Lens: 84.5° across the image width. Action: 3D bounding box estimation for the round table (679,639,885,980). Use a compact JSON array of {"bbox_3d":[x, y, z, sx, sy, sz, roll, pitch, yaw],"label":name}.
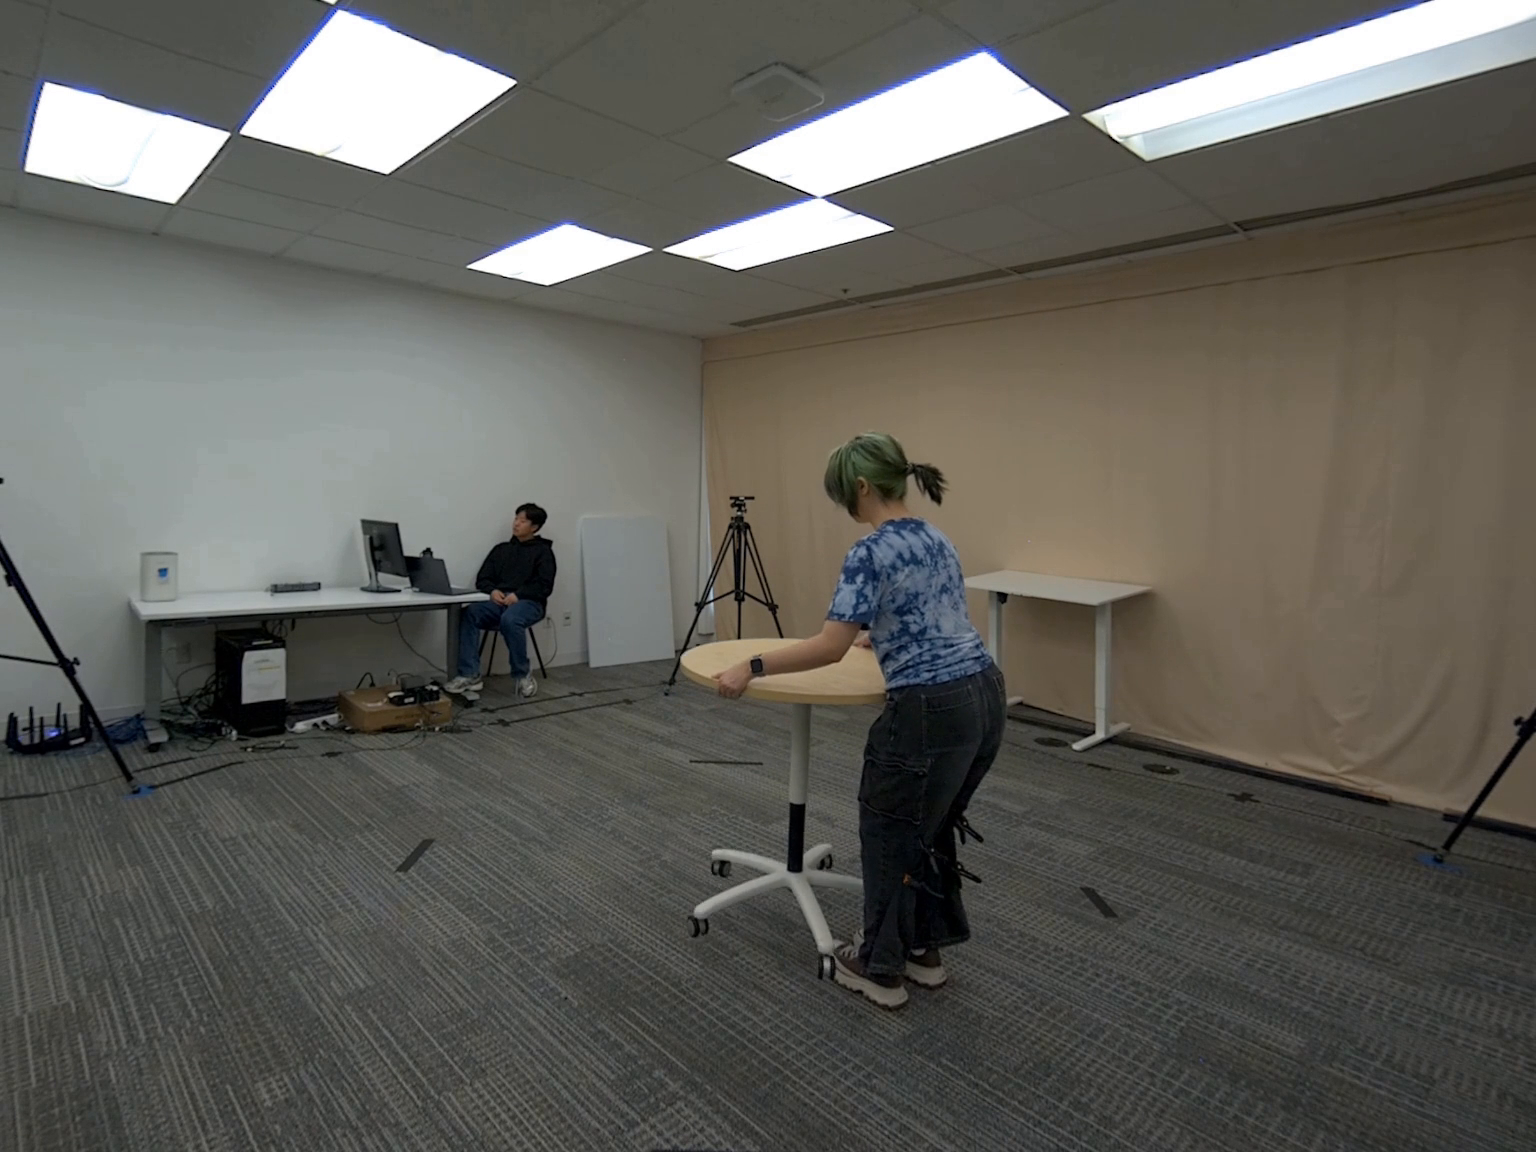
[{"bbox_3d":[0.078,0.673,2.637,0.763,0.791,0.767,3,6,-2],"label":"round table"}]
